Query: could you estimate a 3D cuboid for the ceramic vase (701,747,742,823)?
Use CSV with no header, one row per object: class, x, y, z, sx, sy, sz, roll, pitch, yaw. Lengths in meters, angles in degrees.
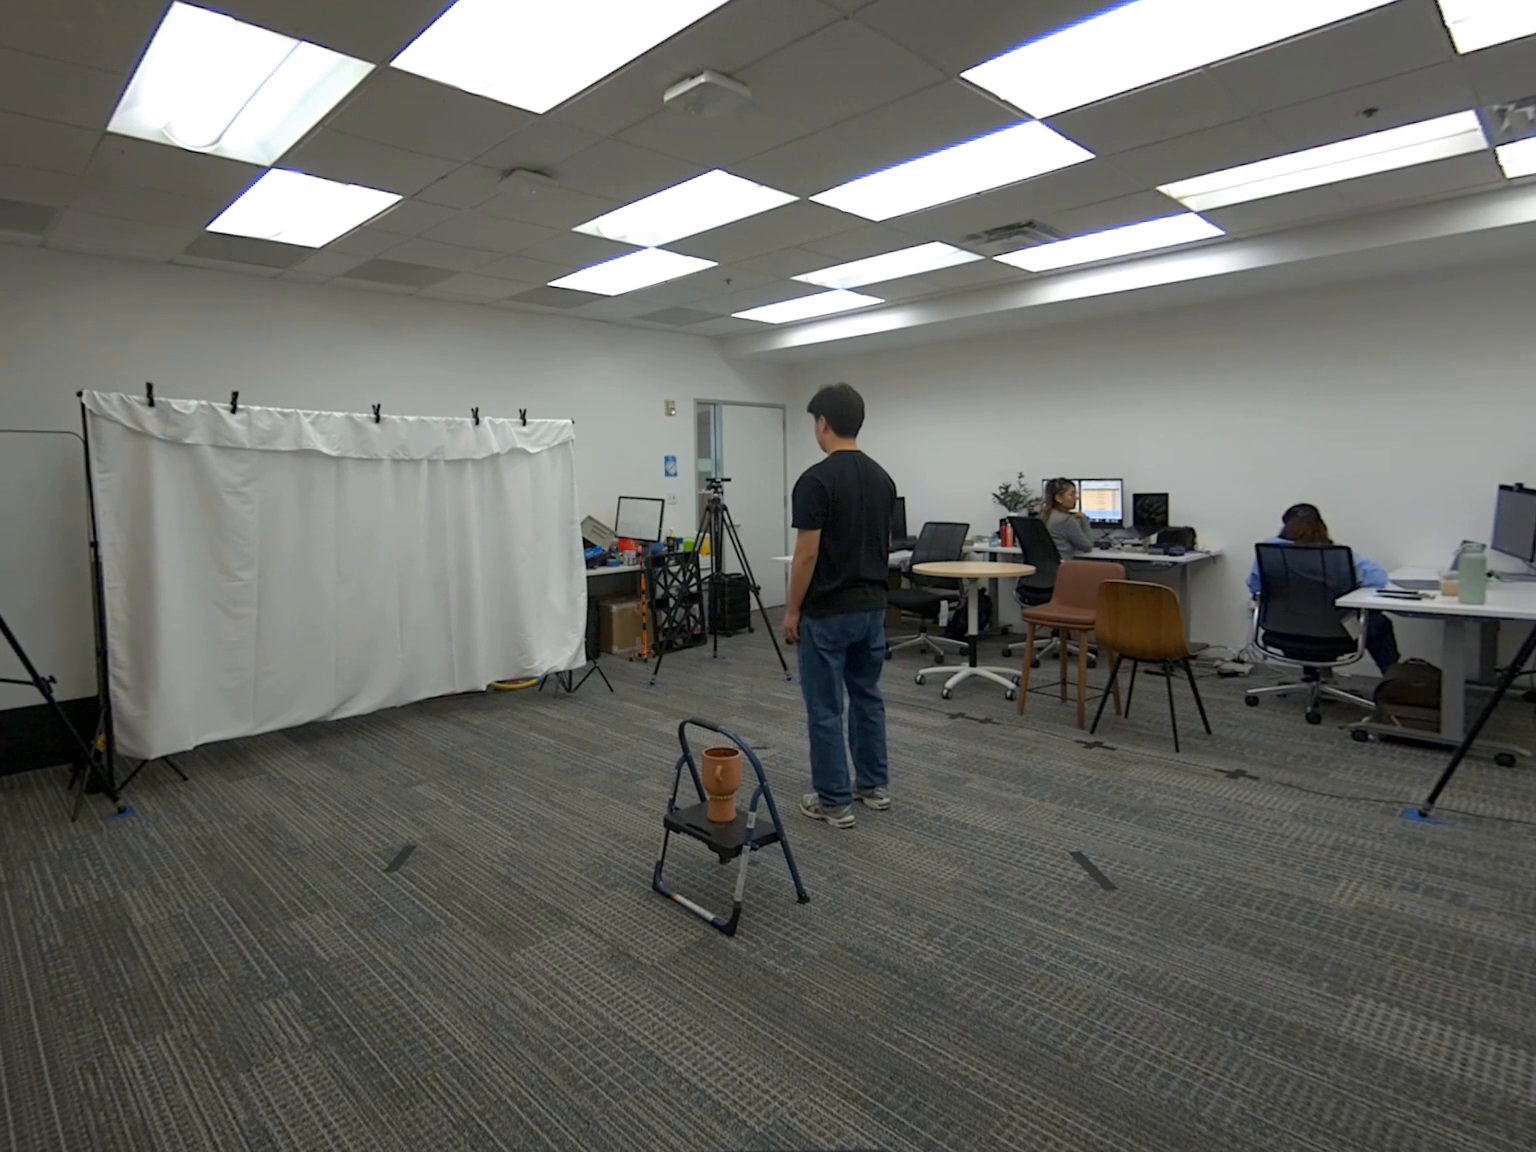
ceramic vase,-0.161,0.701,2.867,0.139,0.219,0.155,4,6,37
